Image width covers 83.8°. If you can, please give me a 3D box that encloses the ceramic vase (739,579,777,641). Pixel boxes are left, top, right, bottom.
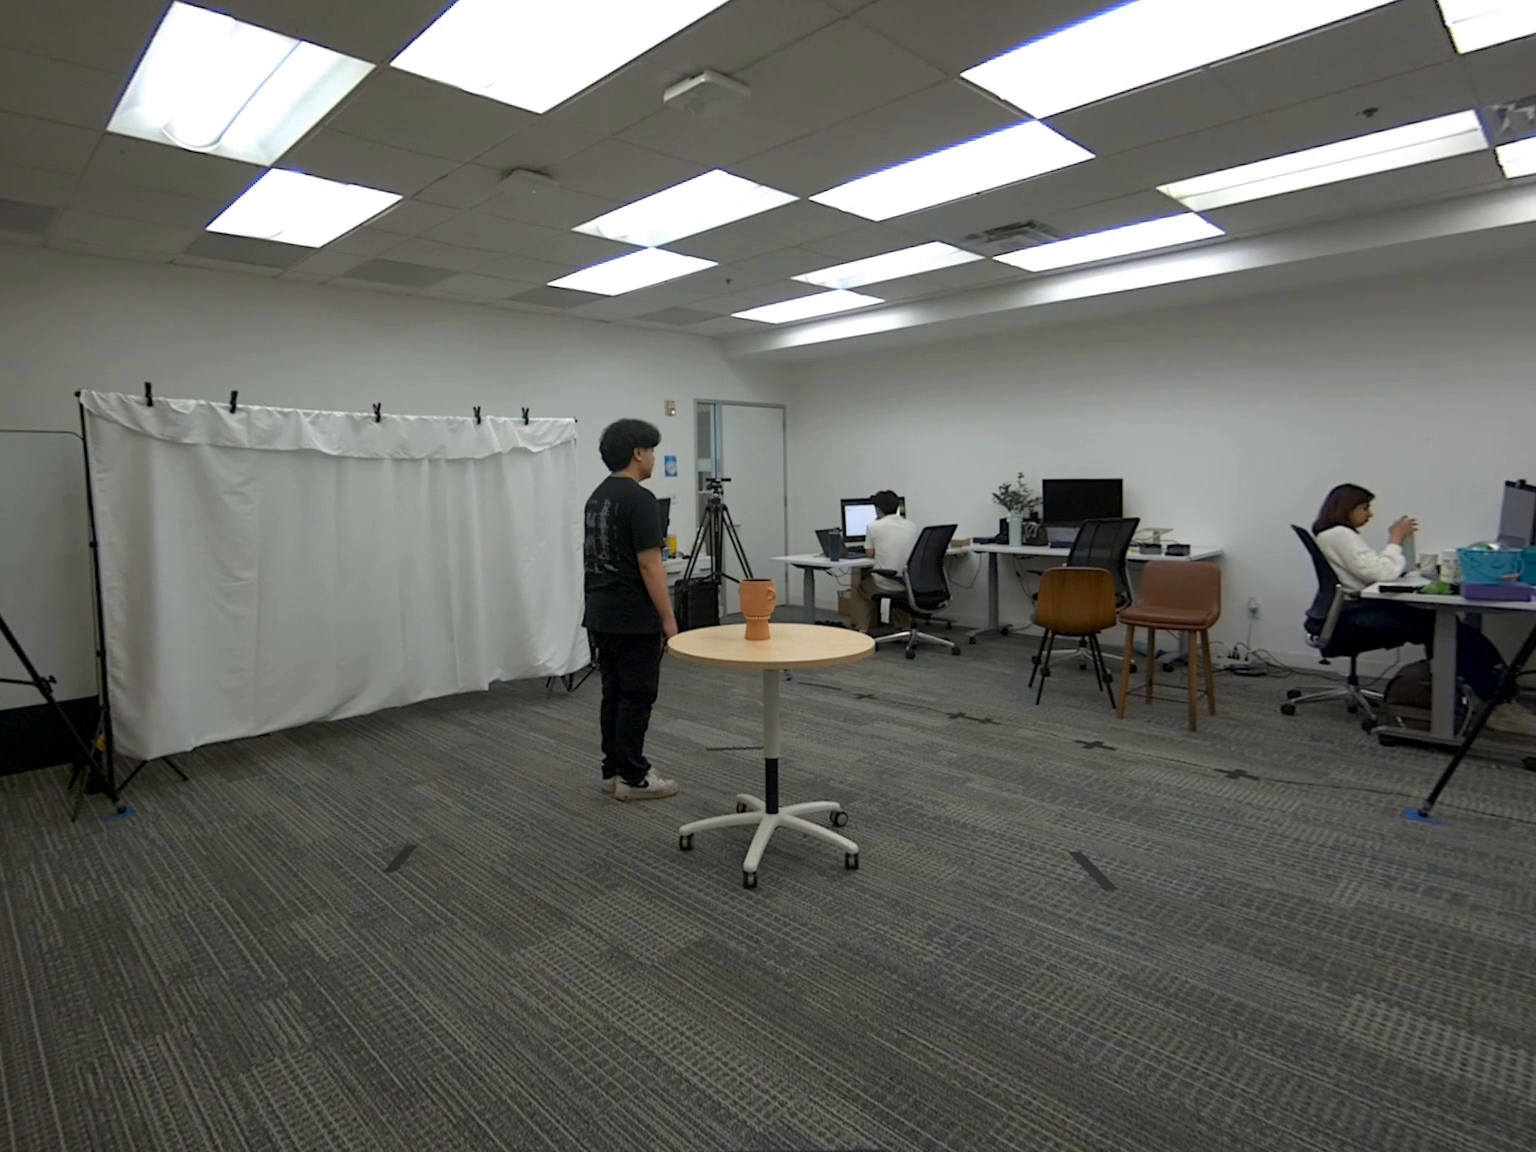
[{"bbox_3d":[-0.043,0.126,3.223,0.134,0.219,0.160,-2,4,-3],"label":"ceramic vase"}]
